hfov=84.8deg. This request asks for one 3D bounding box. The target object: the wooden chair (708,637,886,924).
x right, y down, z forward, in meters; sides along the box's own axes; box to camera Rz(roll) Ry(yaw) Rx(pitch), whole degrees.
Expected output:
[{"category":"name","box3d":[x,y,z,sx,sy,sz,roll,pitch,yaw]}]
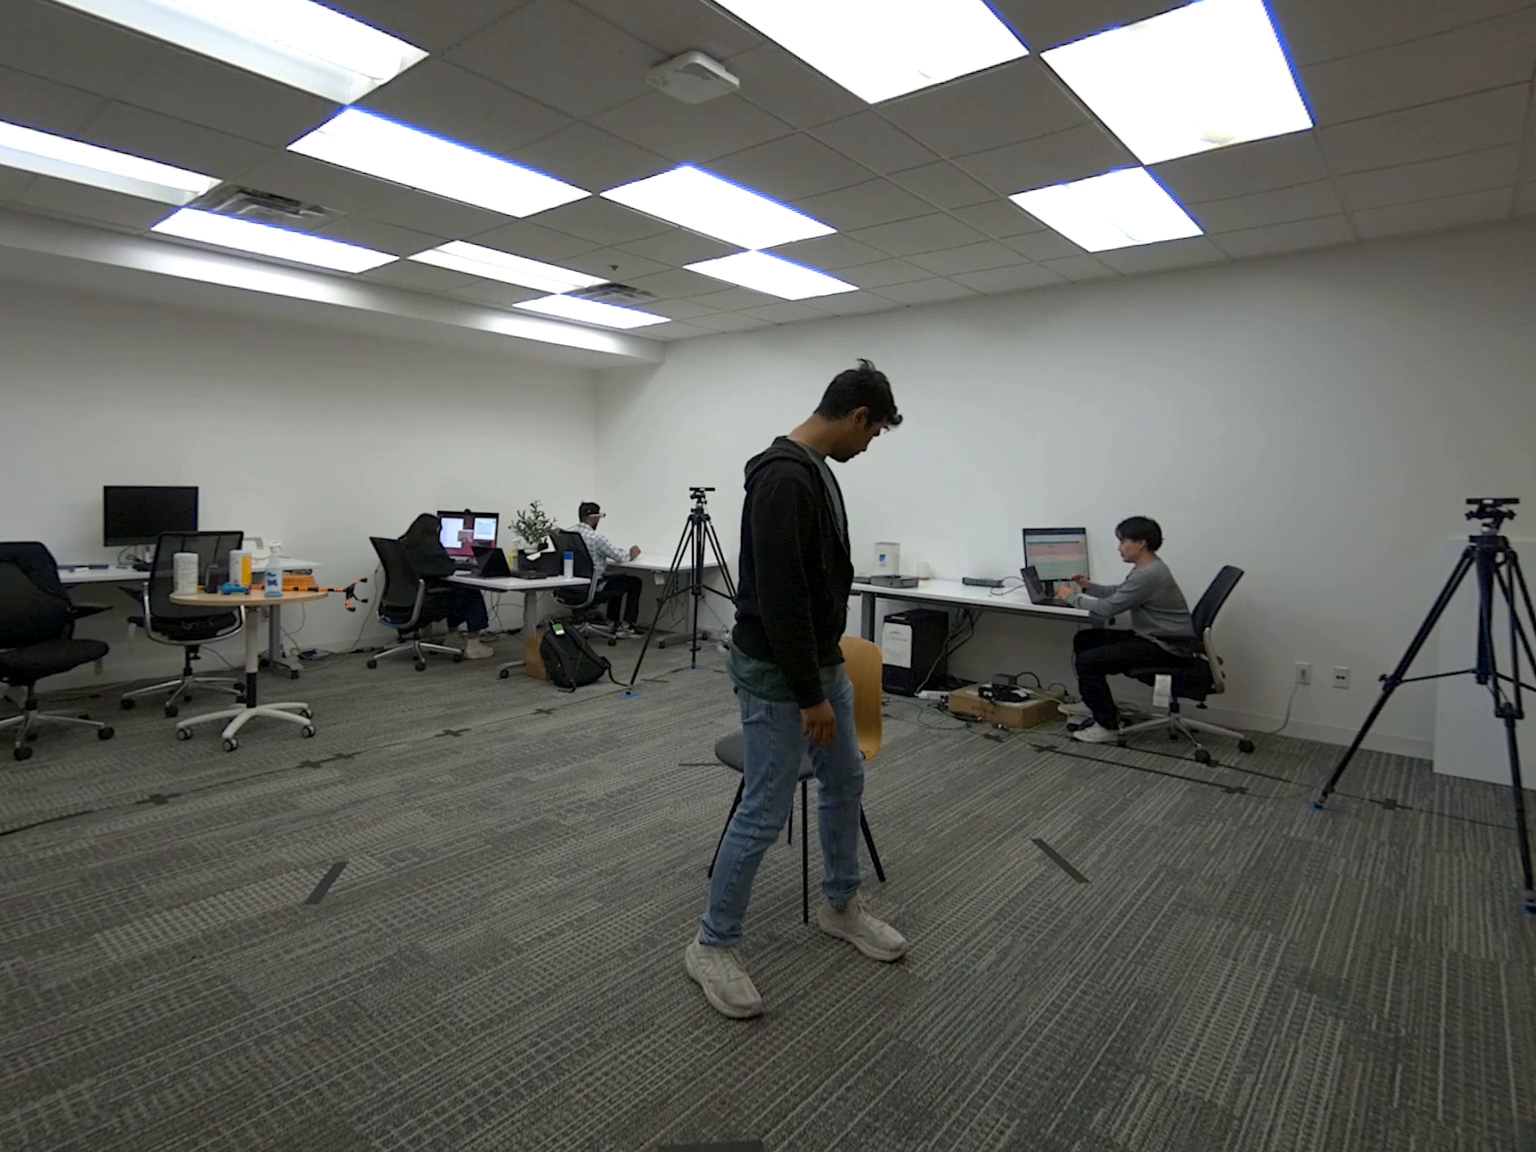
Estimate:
[{"category":"wooden chair","box3d":[0.096,0.652,3.006,0.494,0.877,0.505,5,1,43]}]
